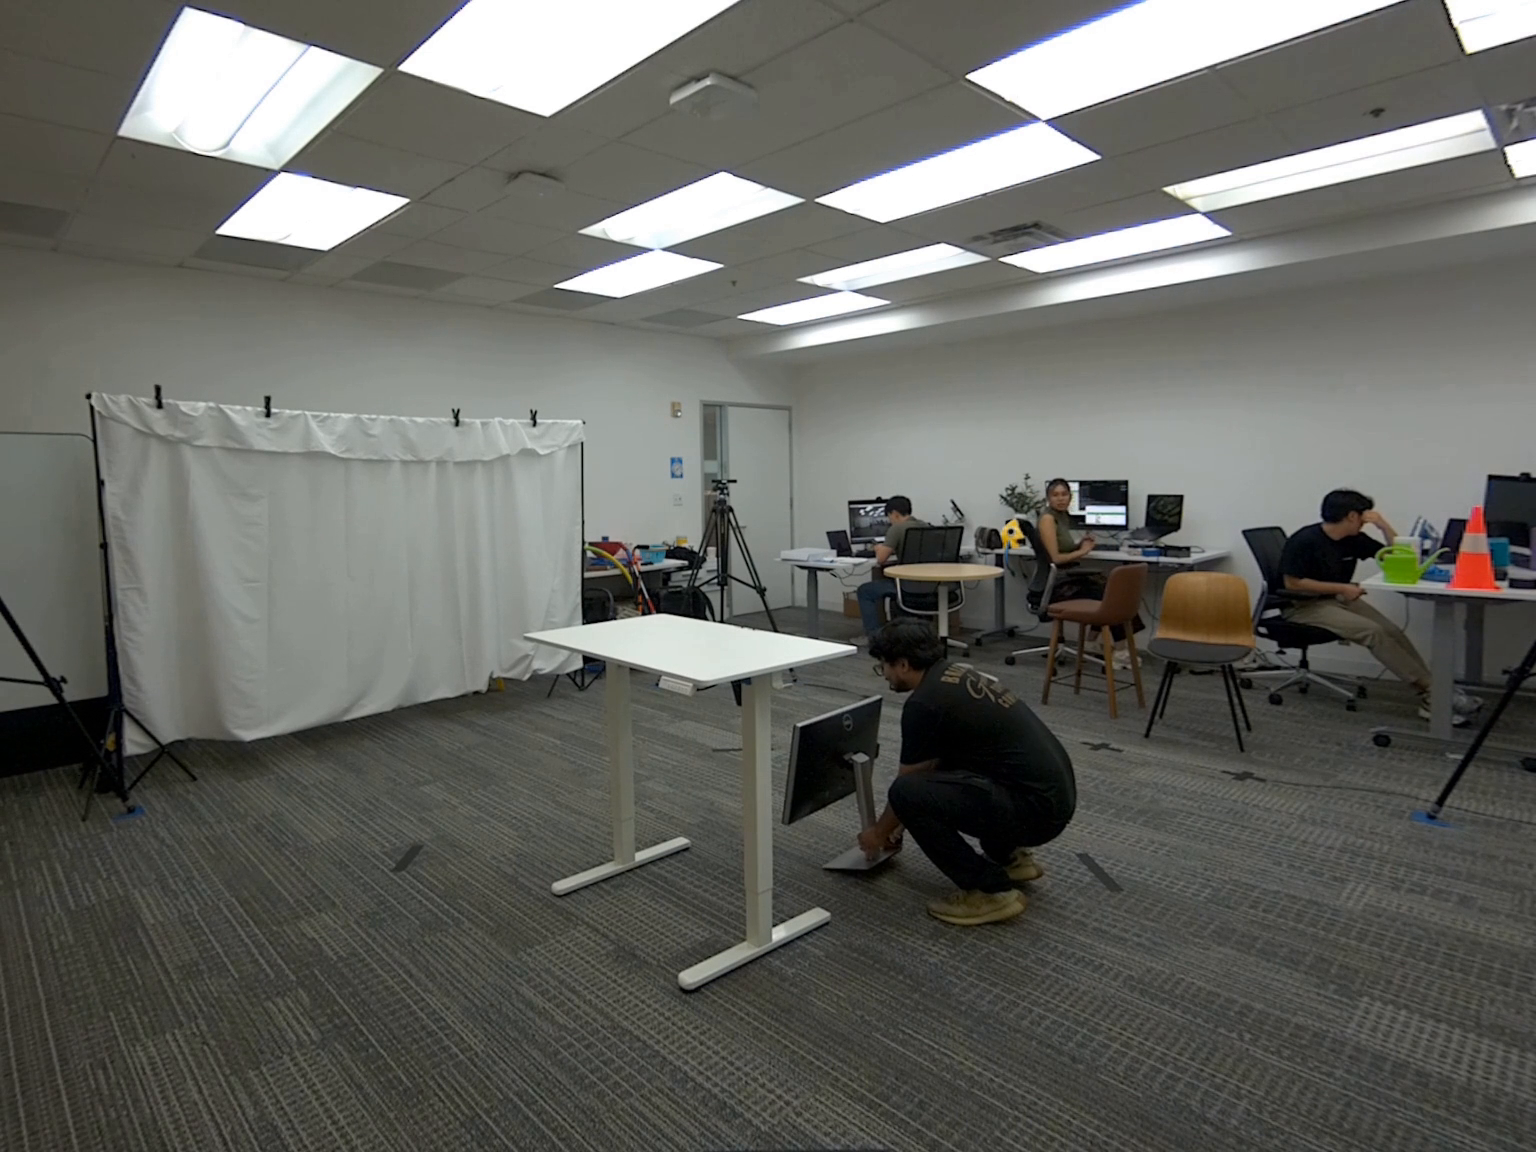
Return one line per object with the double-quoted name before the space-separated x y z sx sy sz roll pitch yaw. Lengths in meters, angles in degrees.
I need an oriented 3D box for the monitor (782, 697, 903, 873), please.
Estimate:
"monitor" 0.312 0.759 3.111 0.216 0.553 0.550 0 3 40
